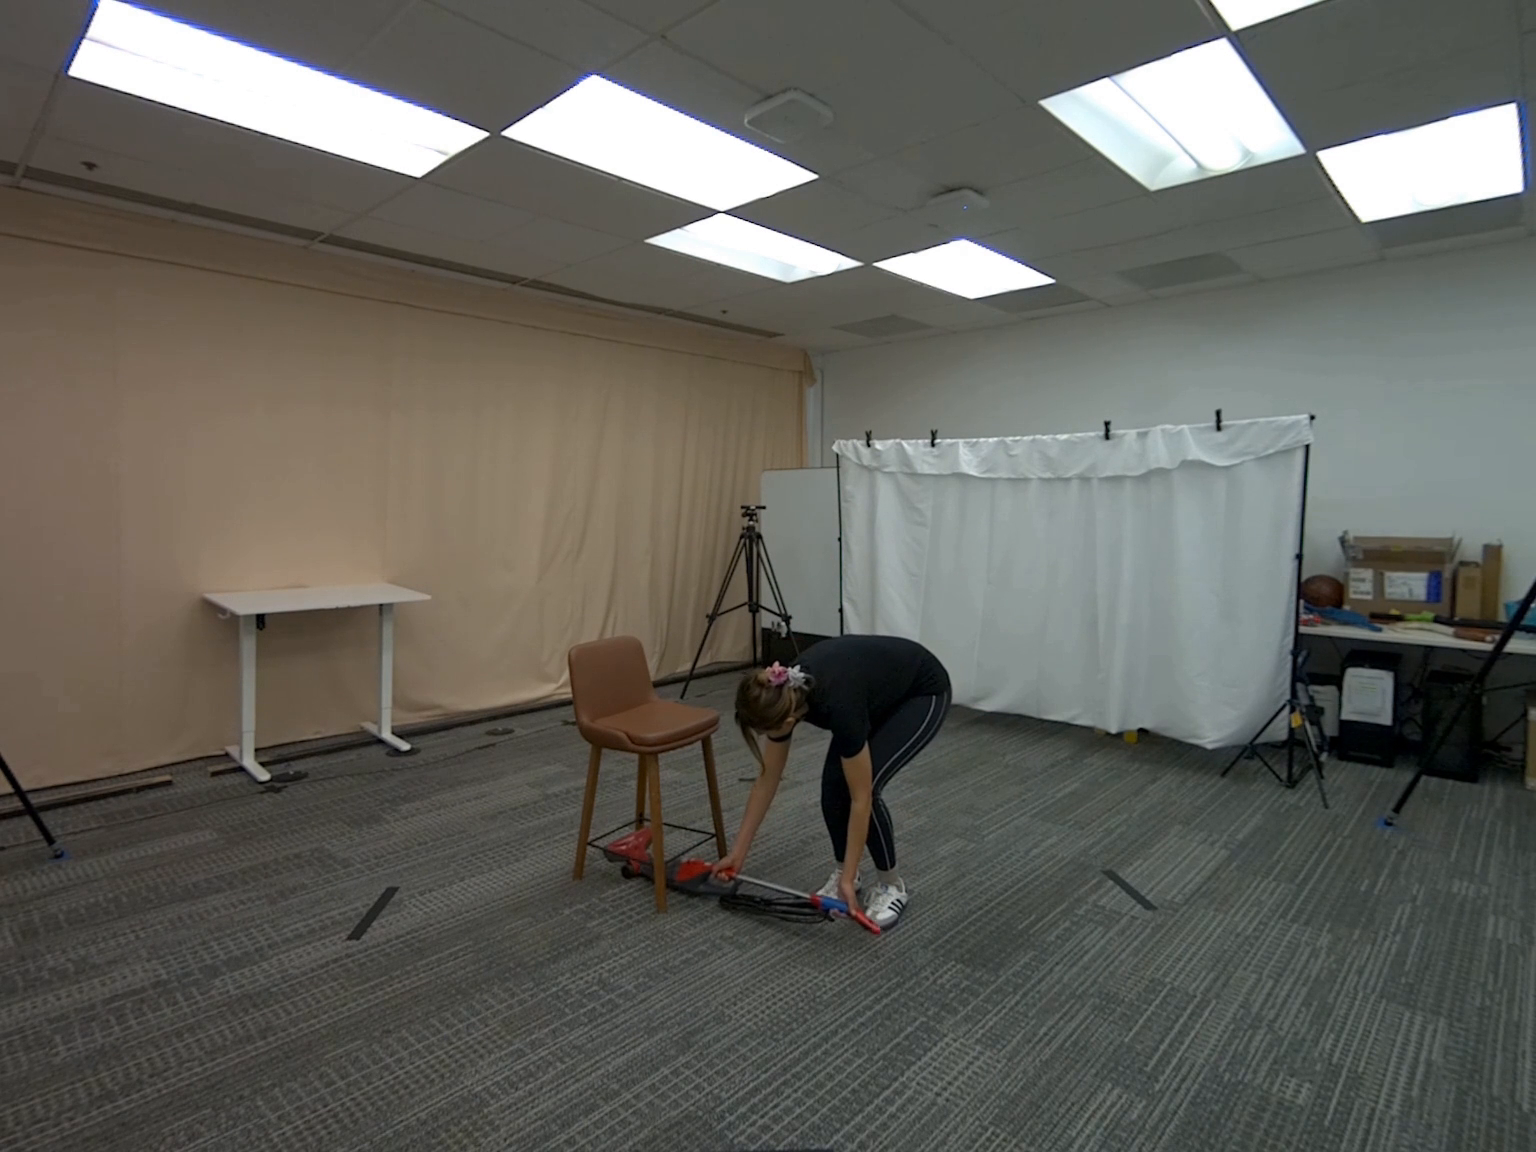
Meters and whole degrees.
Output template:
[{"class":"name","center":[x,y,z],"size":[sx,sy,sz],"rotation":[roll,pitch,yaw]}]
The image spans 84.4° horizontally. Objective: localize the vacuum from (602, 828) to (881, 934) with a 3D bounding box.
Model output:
[{"class":"vacuum","center":[-0.095,1.088,2.895],"size":[1.083,0.144,0.245],"rotation":[2,3,37]}]
